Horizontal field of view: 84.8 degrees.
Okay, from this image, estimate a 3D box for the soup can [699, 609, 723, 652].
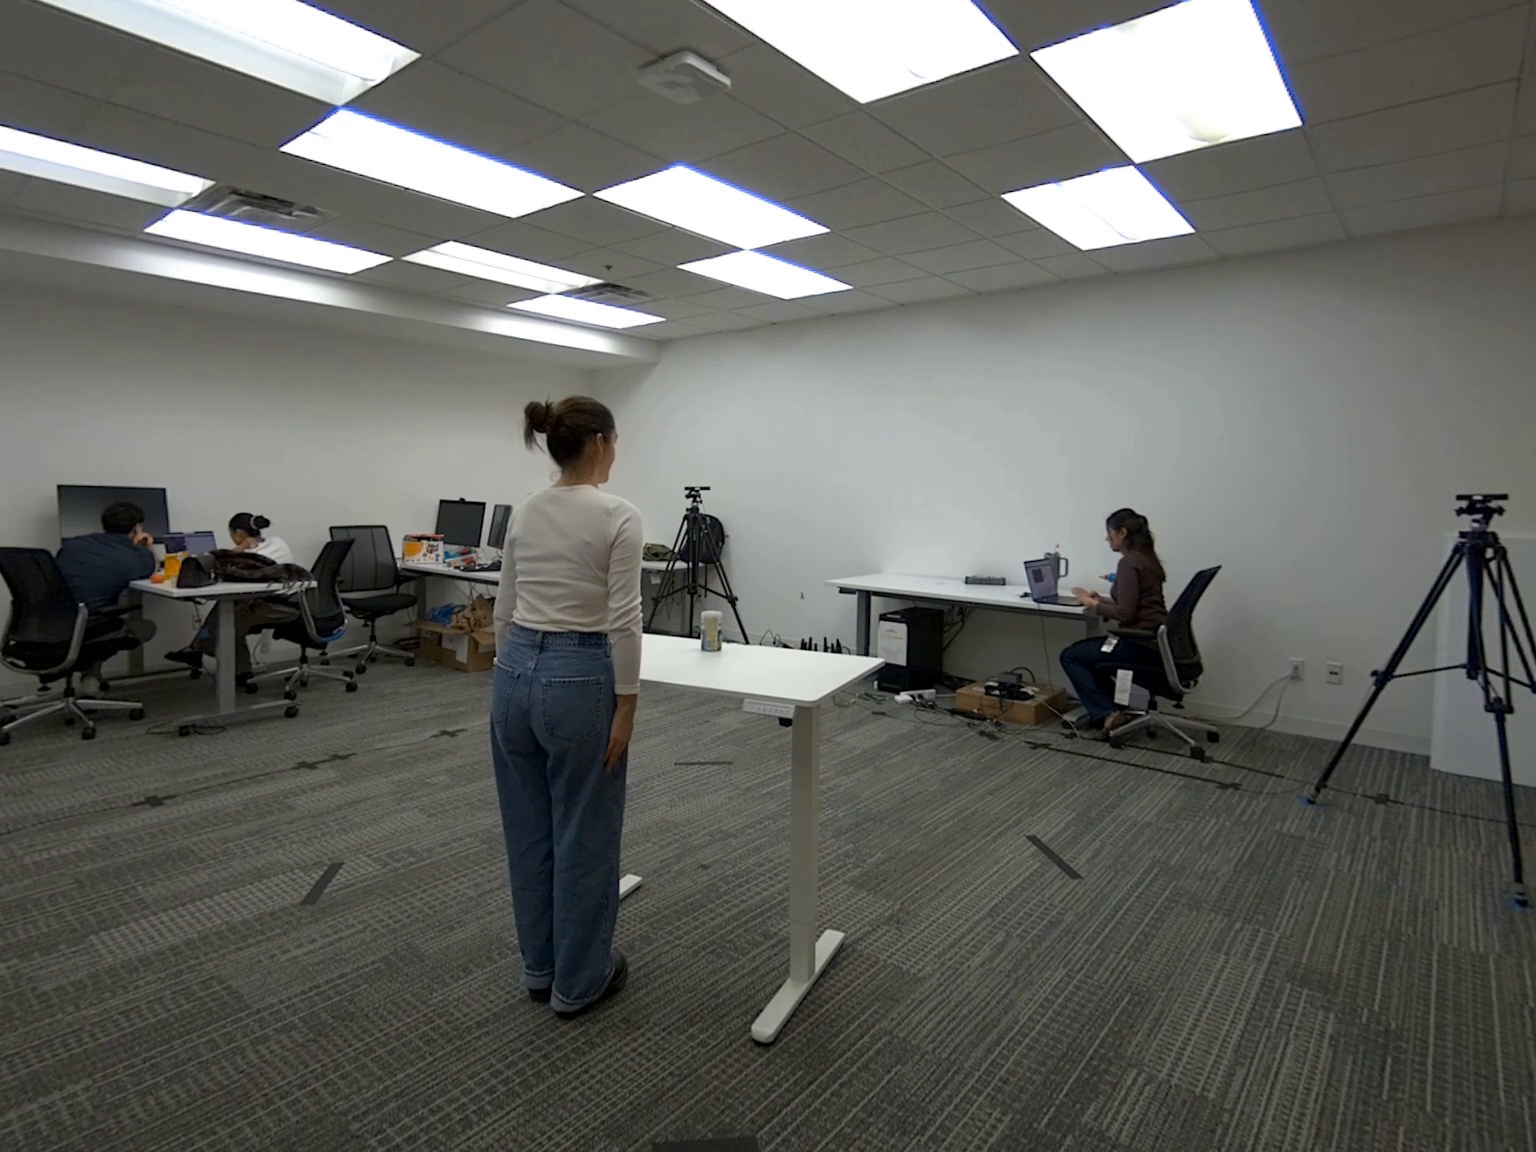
[{"bbox_3d":[-0.182,0.170,2.659,0.067,0.121,0.067,2,4,-2],"label":"soup can"}]
